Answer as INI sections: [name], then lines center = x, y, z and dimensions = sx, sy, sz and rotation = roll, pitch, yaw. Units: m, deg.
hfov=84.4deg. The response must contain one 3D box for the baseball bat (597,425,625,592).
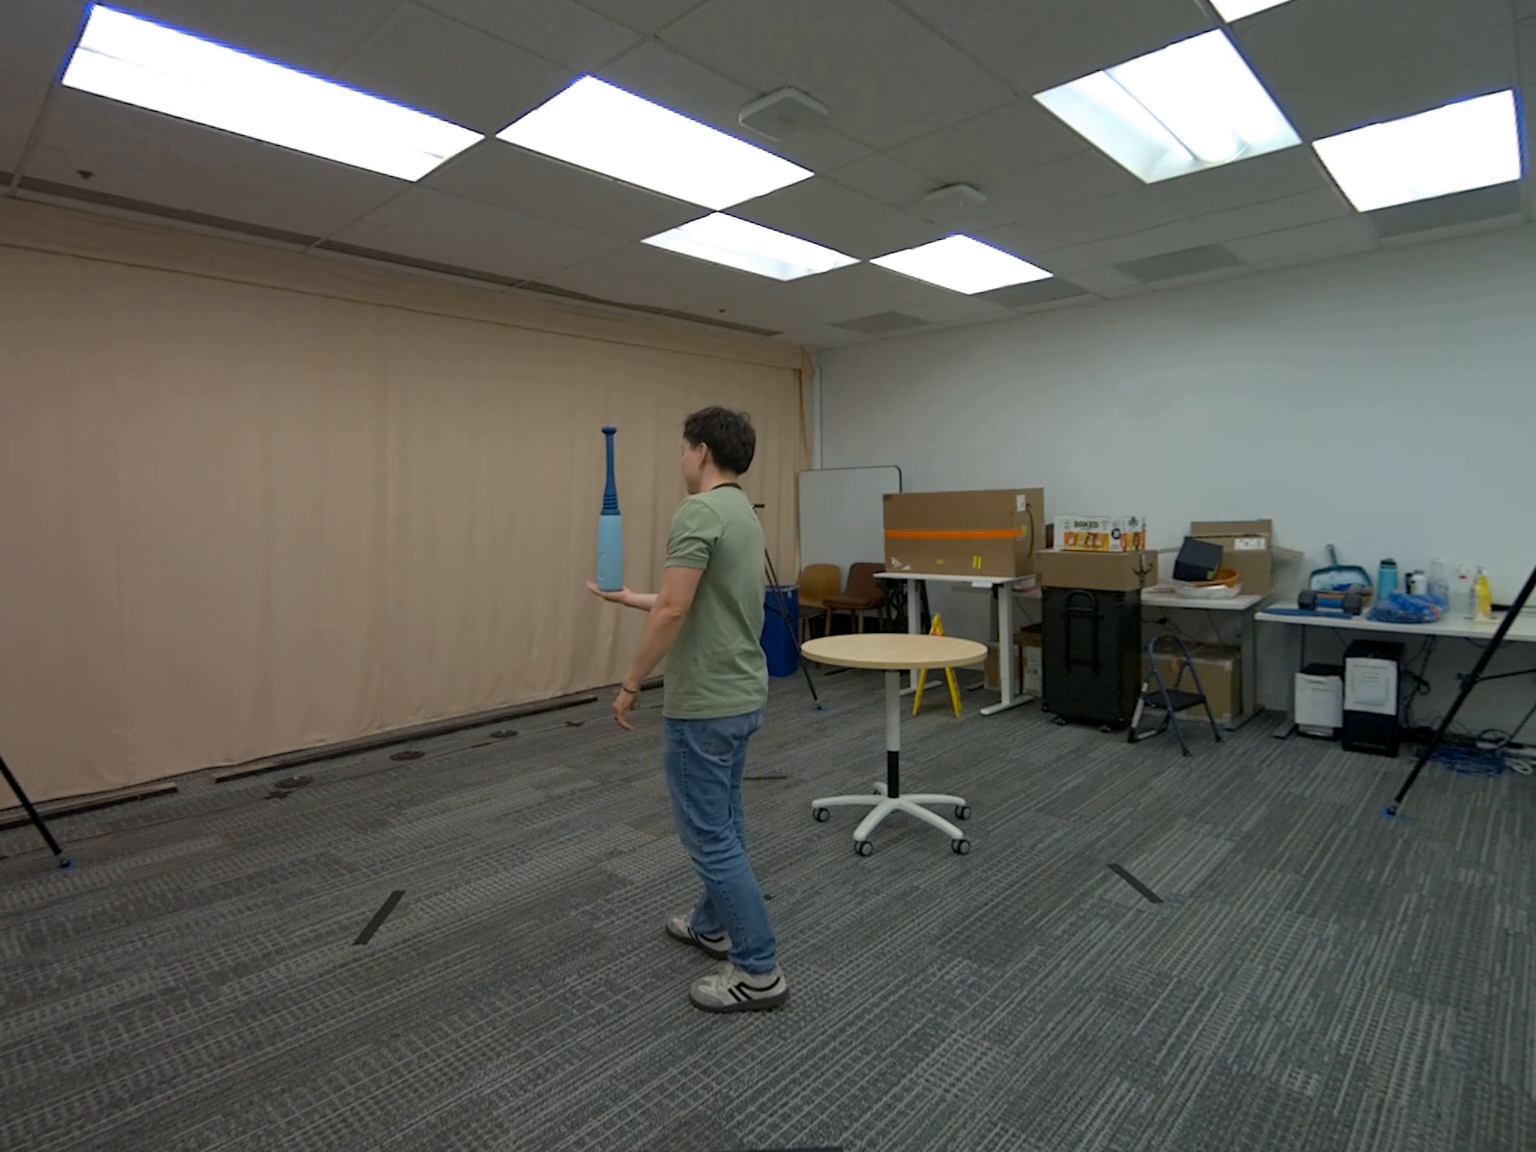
[baseball bat]
center = -0.507, -0.216, 2.773
dimensions = 0.089, 0.542, 0.089
rotation = -2, 1, -2
